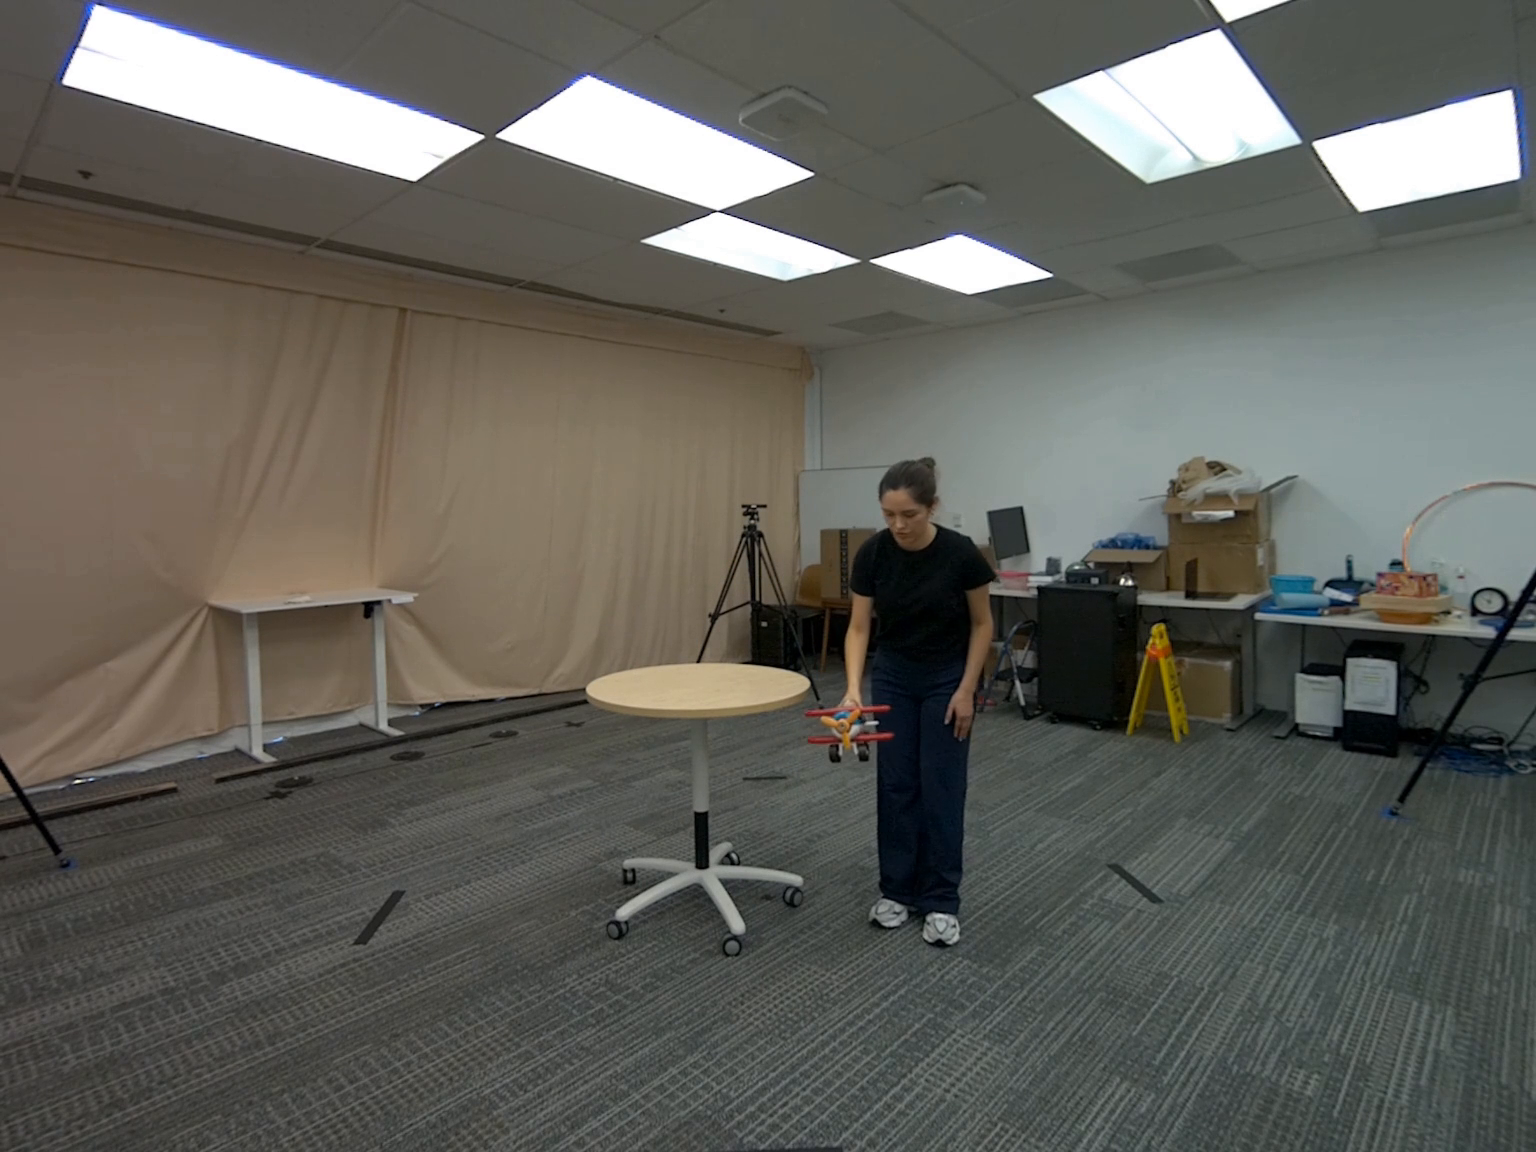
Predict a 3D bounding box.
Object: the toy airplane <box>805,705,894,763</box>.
[{"bbox_3d":[0.234,0.457,2.533,0.249,0.156,0.262,-10,4,-10],"label":"toy airplane"}]
